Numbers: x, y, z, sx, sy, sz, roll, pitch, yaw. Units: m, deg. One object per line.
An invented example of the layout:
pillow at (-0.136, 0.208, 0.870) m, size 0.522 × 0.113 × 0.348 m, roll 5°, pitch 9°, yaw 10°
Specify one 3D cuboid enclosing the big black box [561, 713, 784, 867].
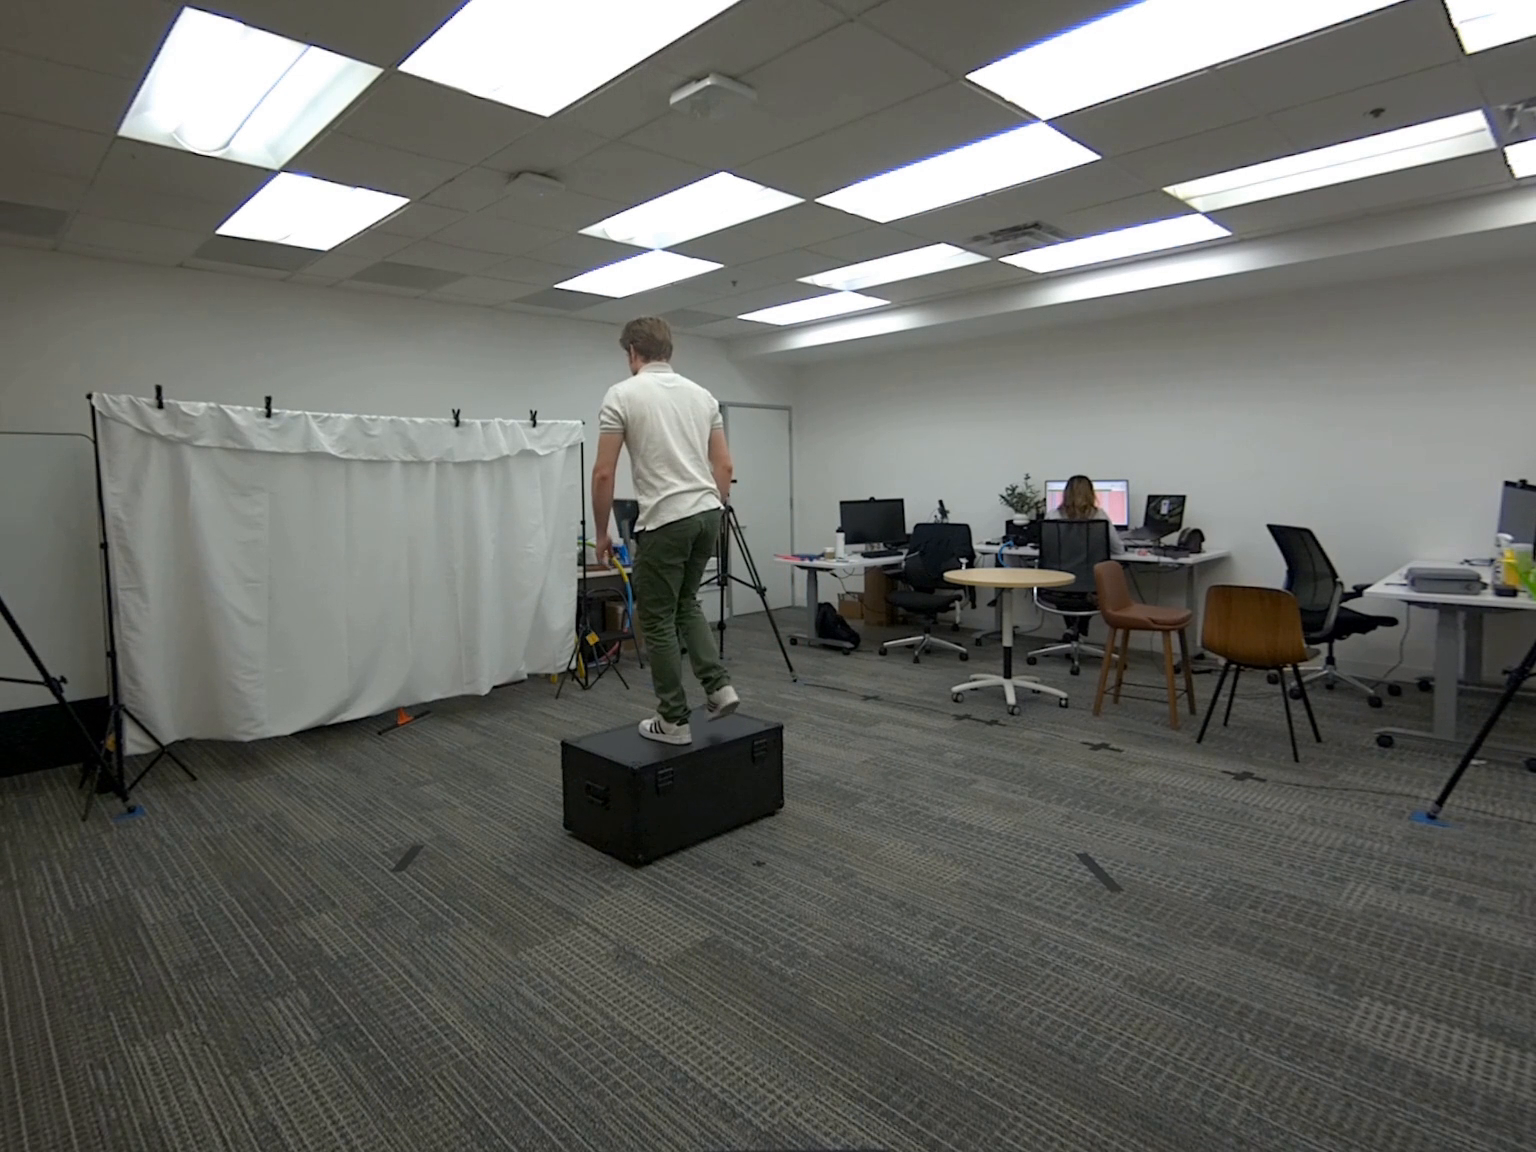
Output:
big black box at (-0.346, 0.817, 3.507) m, size 0.845 × 0.384 × 0.539 m, roll -6°, pitch 6°, yaw -44°
